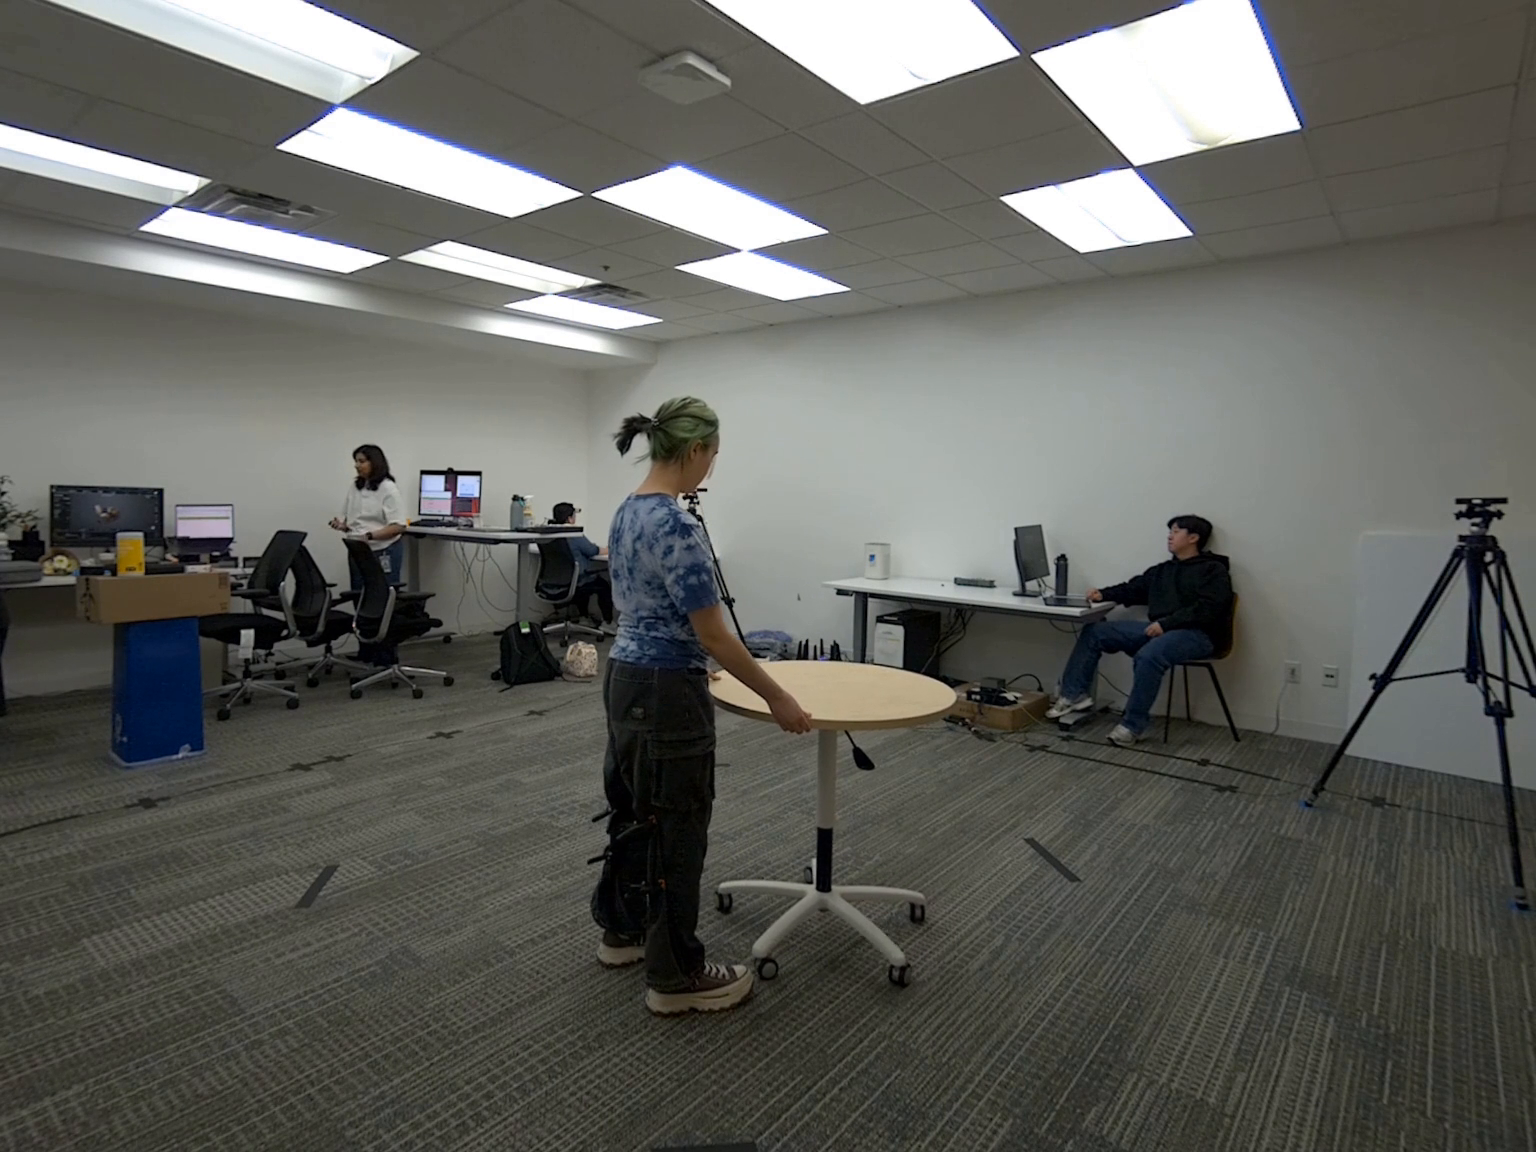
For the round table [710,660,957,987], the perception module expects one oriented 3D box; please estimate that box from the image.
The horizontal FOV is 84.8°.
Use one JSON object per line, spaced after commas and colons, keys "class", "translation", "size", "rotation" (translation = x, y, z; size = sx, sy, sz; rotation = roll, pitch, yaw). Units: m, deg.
{"class": "round table", "translation": [0.167, 0.731, 2.667], "size": [0.763, 0.791, 0.768], "rotation": [1, 4, -2]}
